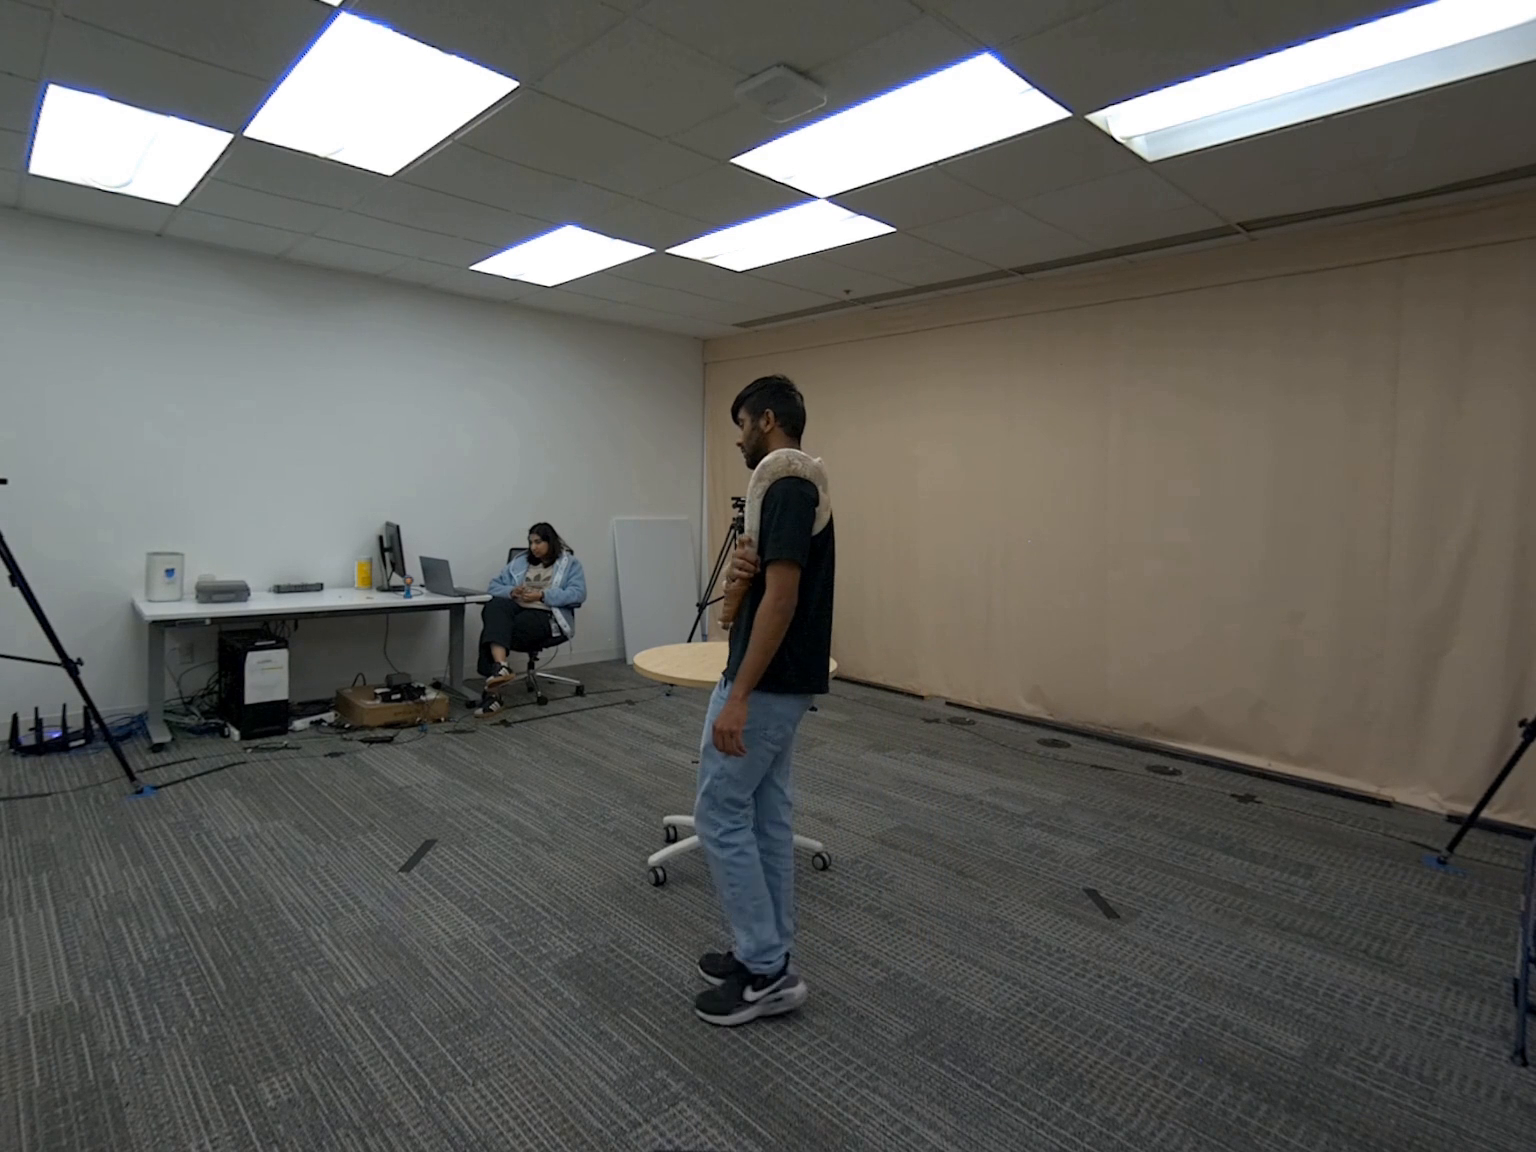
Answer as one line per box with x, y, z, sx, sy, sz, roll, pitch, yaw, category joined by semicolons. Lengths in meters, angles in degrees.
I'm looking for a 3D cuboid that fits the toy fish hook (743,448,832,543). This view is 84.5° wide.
0.008;-0.079;2.190;0.227;0.505;0.048;19;6;13;toy fish hook
